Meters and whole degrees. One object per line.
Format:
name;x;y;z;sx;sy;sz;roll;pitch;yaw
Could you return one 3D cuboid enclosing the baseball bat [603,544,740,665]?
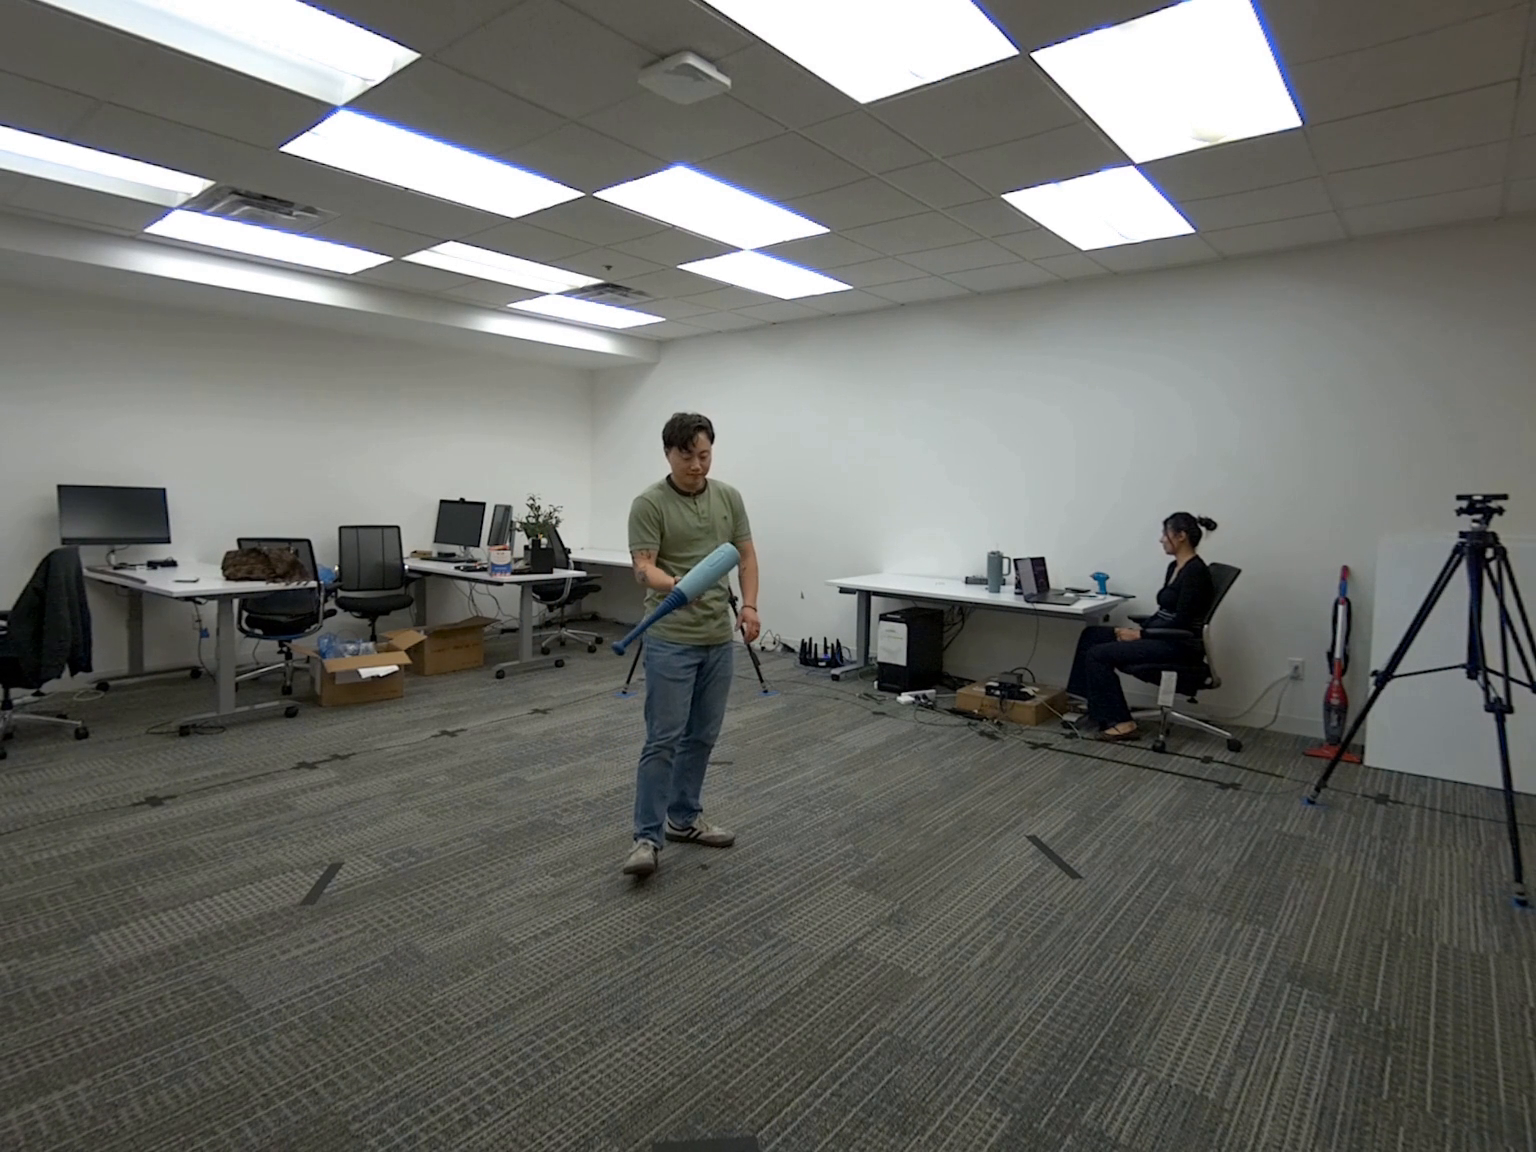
baseball bat;-0.306;0.076;2.806;0.541;0.086;0.092;-42;25;-24
